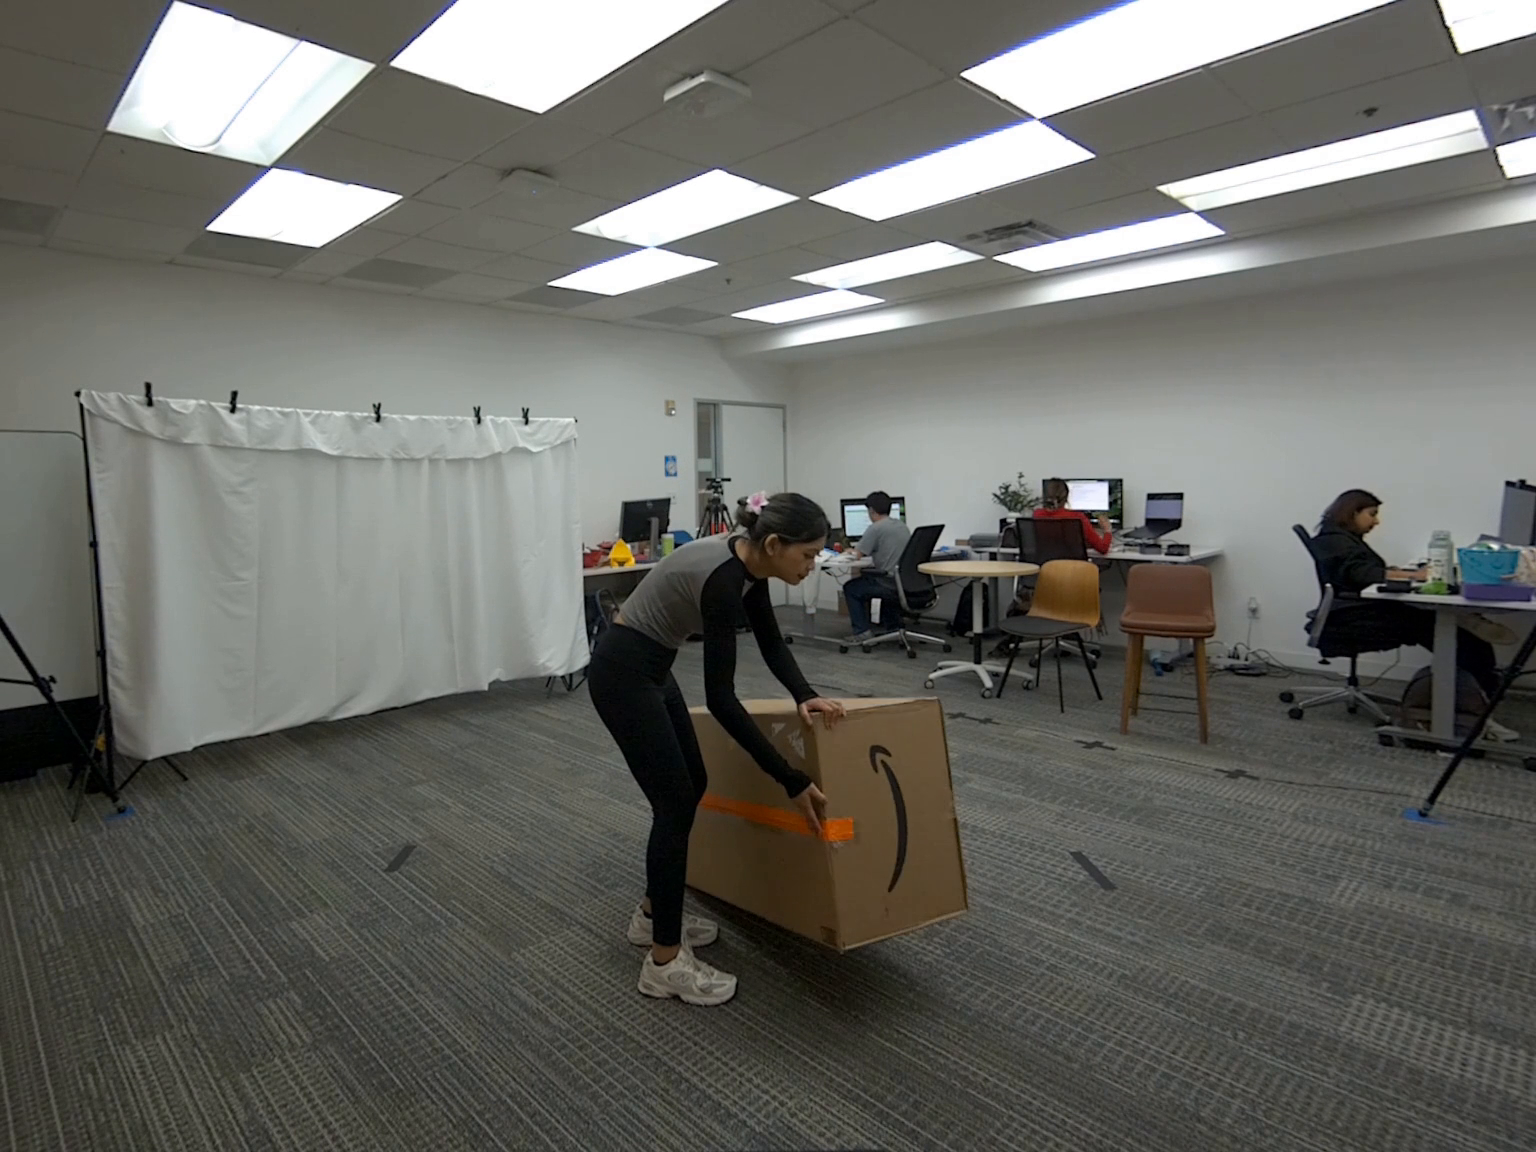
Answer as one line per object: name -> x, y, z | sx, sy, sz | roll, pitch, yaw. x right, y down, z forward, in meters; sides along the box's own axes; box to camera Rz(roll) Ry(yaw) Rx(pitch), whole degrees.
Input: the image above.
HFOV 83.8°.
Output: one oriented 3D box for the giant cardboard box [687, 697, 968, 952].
giant cardboard box -> 0.078, 0.697, 2.684 | 0.436, 0.588, 1.044 | -3, -6, -30
